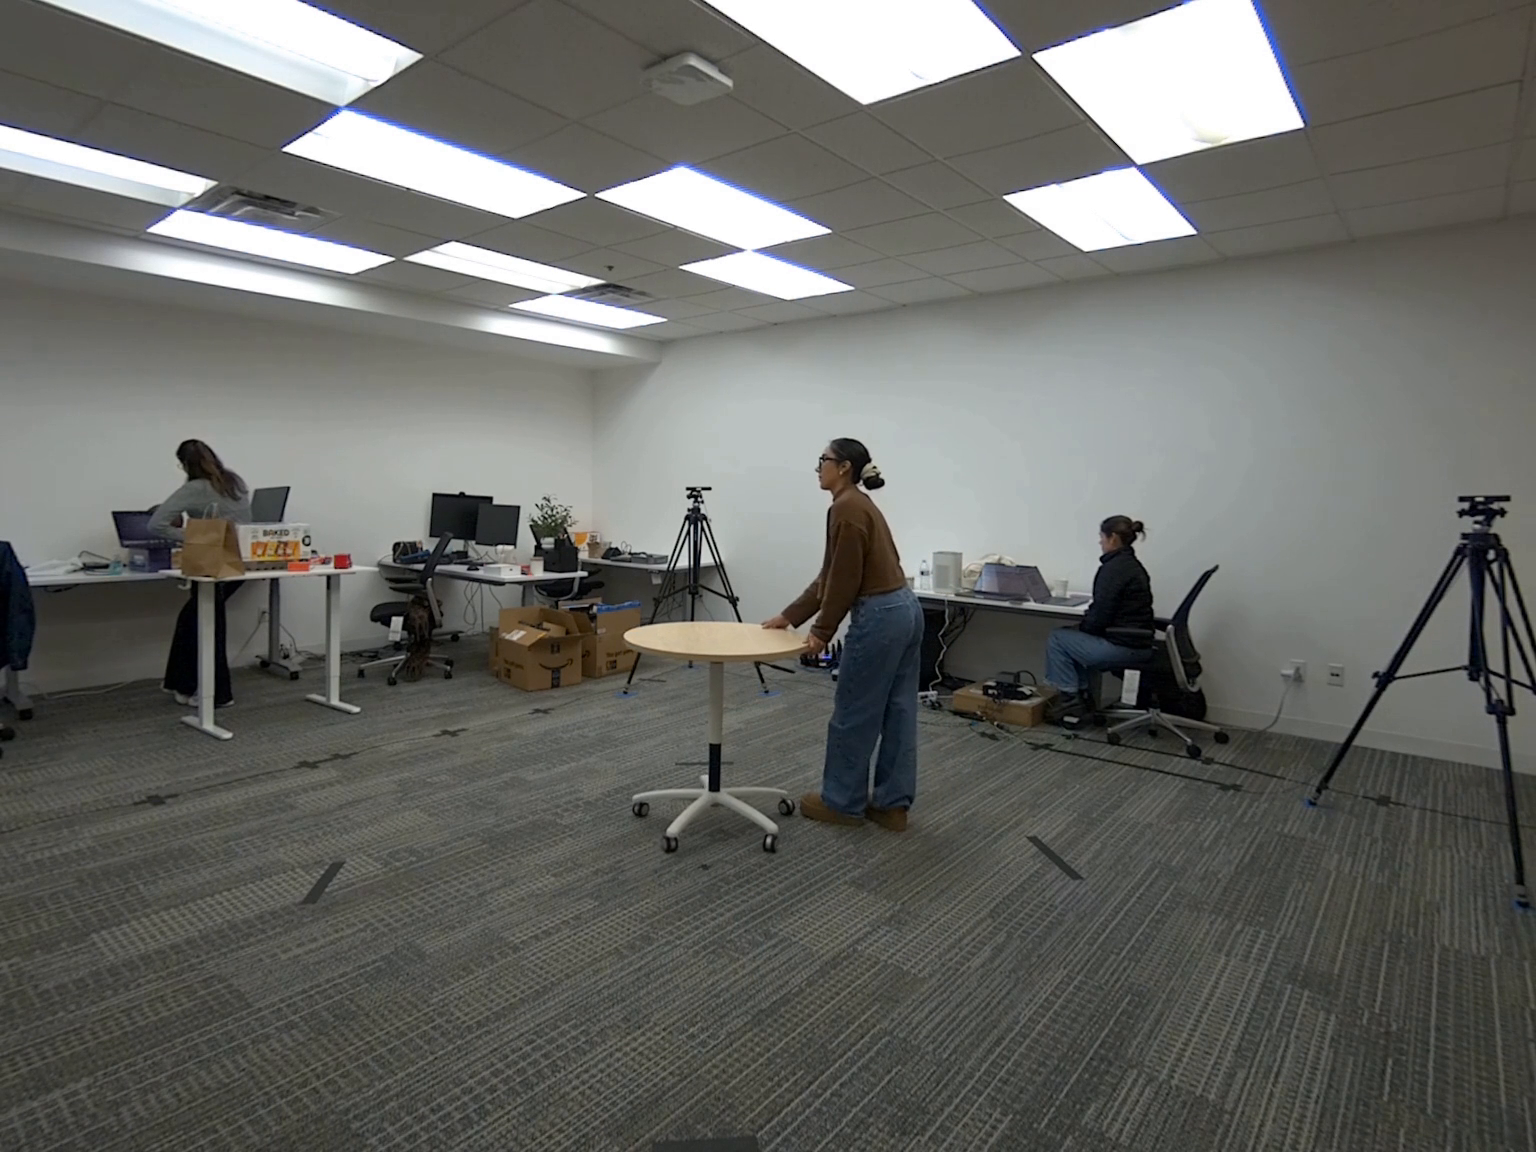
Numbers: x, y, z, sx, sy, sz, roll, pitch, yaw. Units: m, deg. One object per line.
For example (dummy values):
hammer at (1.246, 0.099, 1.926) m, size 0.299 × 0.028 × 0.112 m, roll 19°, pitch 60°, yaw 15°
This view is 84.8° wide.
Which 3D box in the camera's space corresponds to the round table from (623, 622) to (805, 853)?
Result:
round table at (-0.211, 0.636, 3.512) m, size 0.784 × 0.784 × 0.789 m, roll 1°, pitch 4°, yaw -2°
